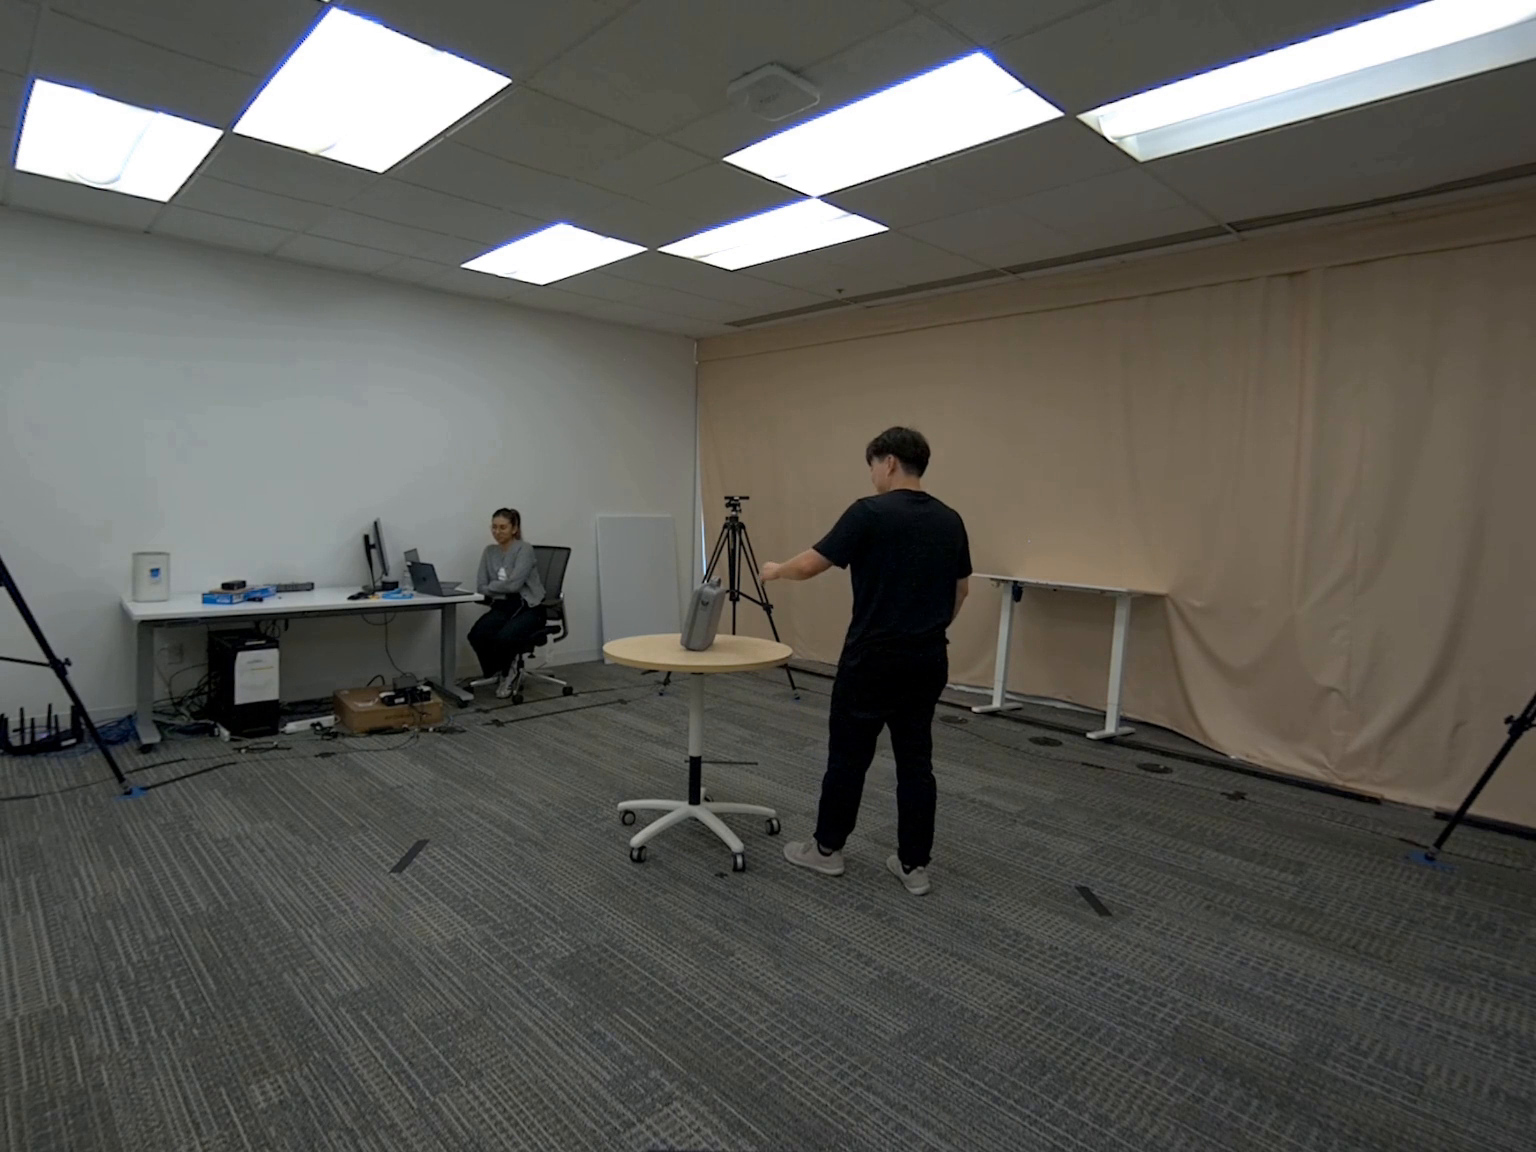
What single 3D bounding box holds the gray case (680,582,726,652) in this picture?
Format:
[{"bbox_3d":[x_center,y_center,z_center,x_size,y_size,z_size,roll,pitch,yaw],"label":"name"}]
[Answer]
[{"bbox_3d":[-0.265,0.156,3.426,0.105,0.260,0.256,12,7,5],"label":"gray case"}]
